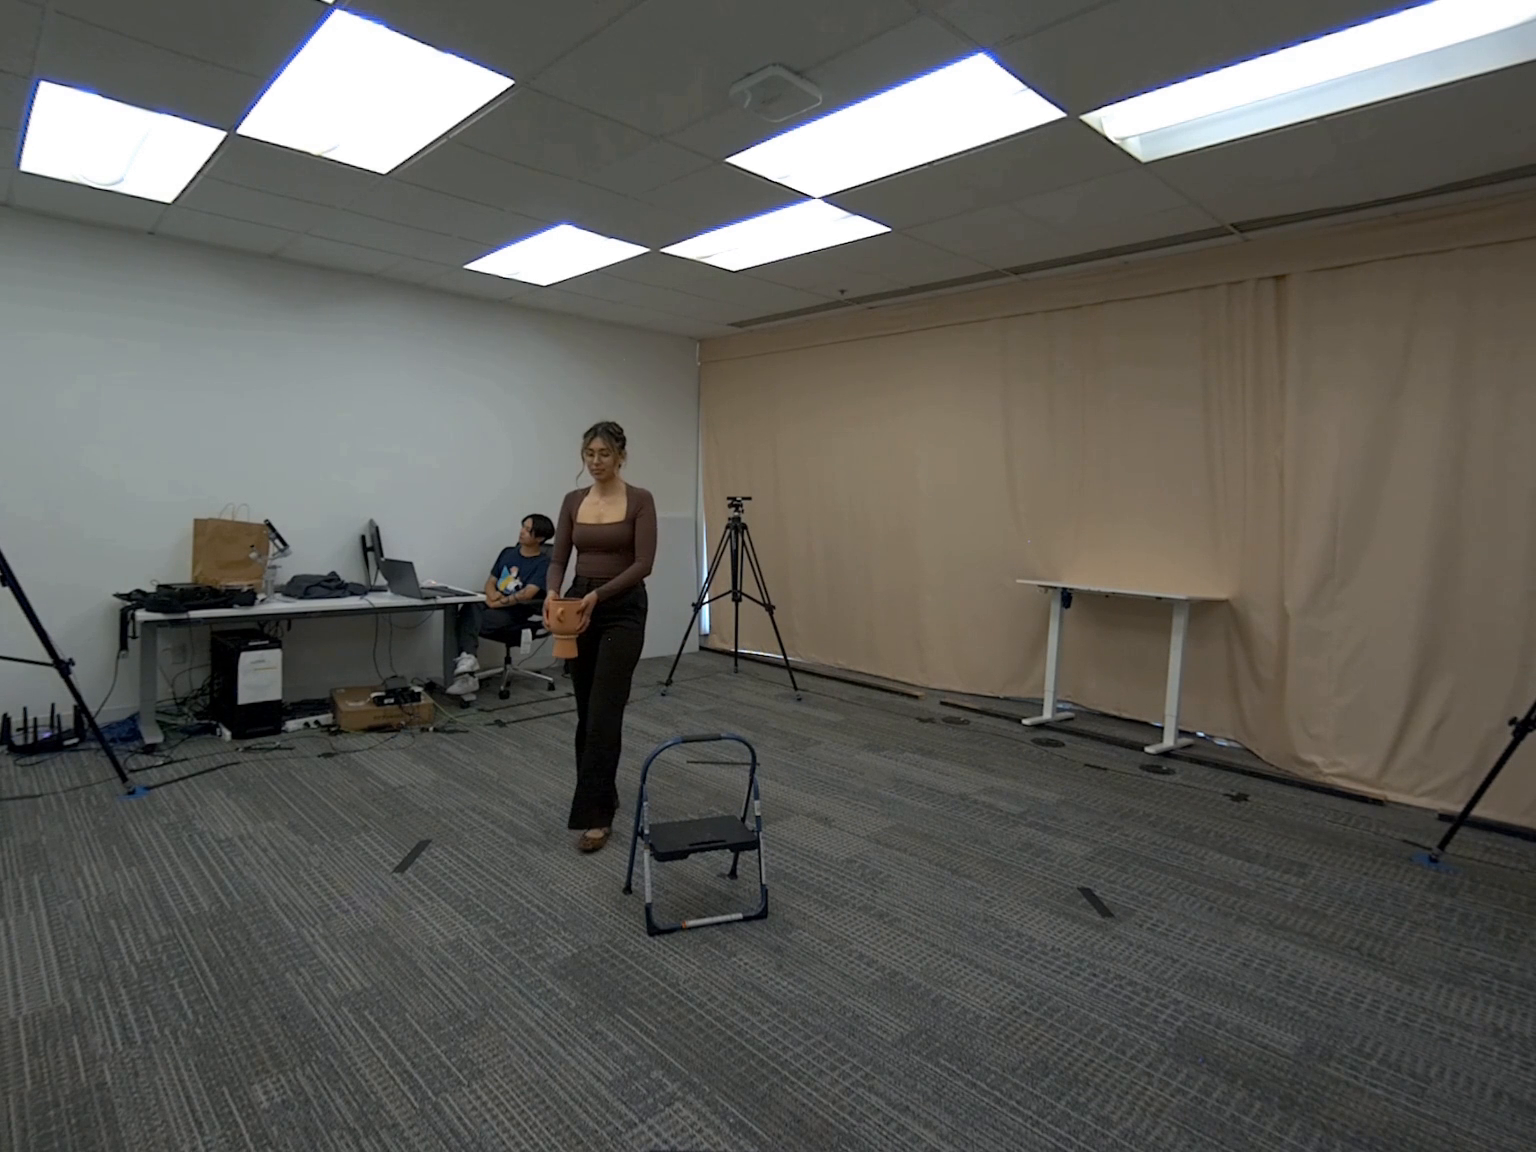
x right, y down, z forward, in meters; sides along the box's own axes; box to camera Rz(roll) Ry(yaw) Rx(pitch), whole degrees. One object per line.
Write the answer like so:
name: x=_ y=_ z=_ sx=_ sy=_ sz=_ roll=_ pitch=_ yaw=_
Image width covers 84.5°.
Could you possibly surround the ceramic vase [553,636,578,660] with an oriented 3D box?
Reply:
ceramic vase: x=-0.790 y=0.206 z=3.263 sx=0.138 sy=0.219 sz=0.155 roll=6 pitch=5 yaw=40
